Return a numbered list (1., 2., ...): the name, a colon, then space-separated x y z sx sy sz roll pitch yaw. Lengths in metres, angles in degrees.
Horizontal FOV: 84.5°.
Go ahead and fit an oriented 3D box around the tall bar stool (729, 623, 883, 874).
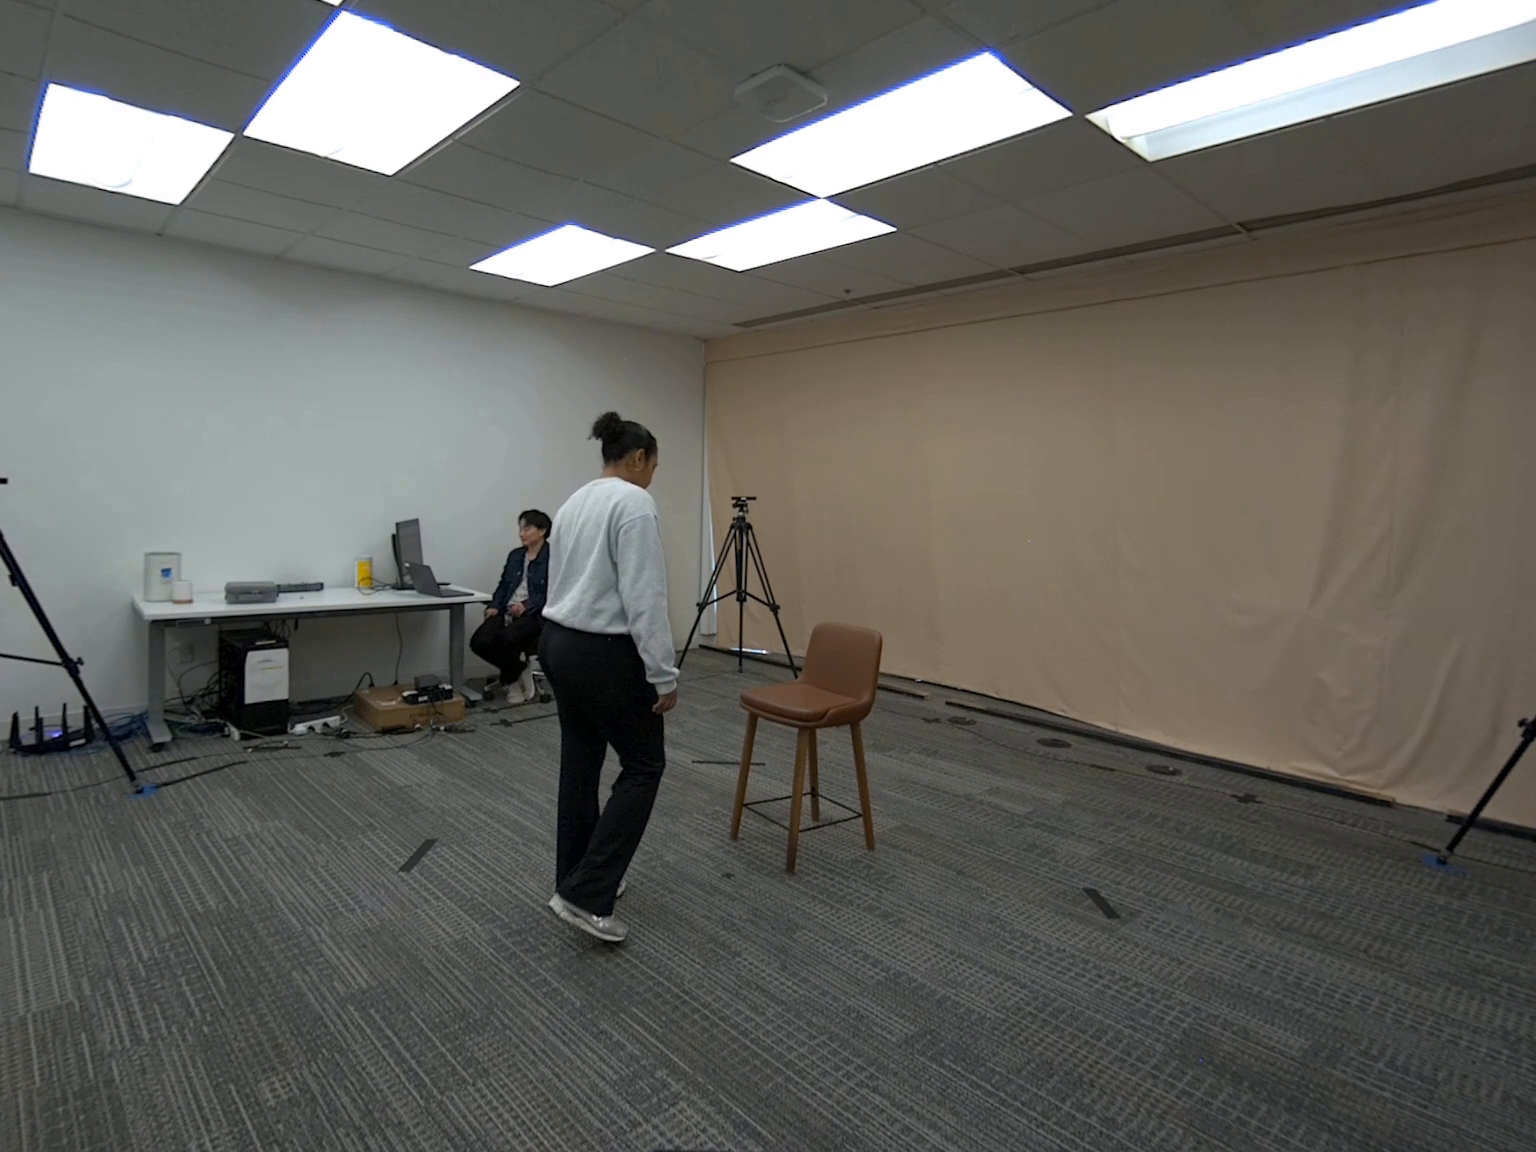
1. tall bar stool: 0.153 0.653 3.392 0.457 0.889 0.467 2 2 -35
